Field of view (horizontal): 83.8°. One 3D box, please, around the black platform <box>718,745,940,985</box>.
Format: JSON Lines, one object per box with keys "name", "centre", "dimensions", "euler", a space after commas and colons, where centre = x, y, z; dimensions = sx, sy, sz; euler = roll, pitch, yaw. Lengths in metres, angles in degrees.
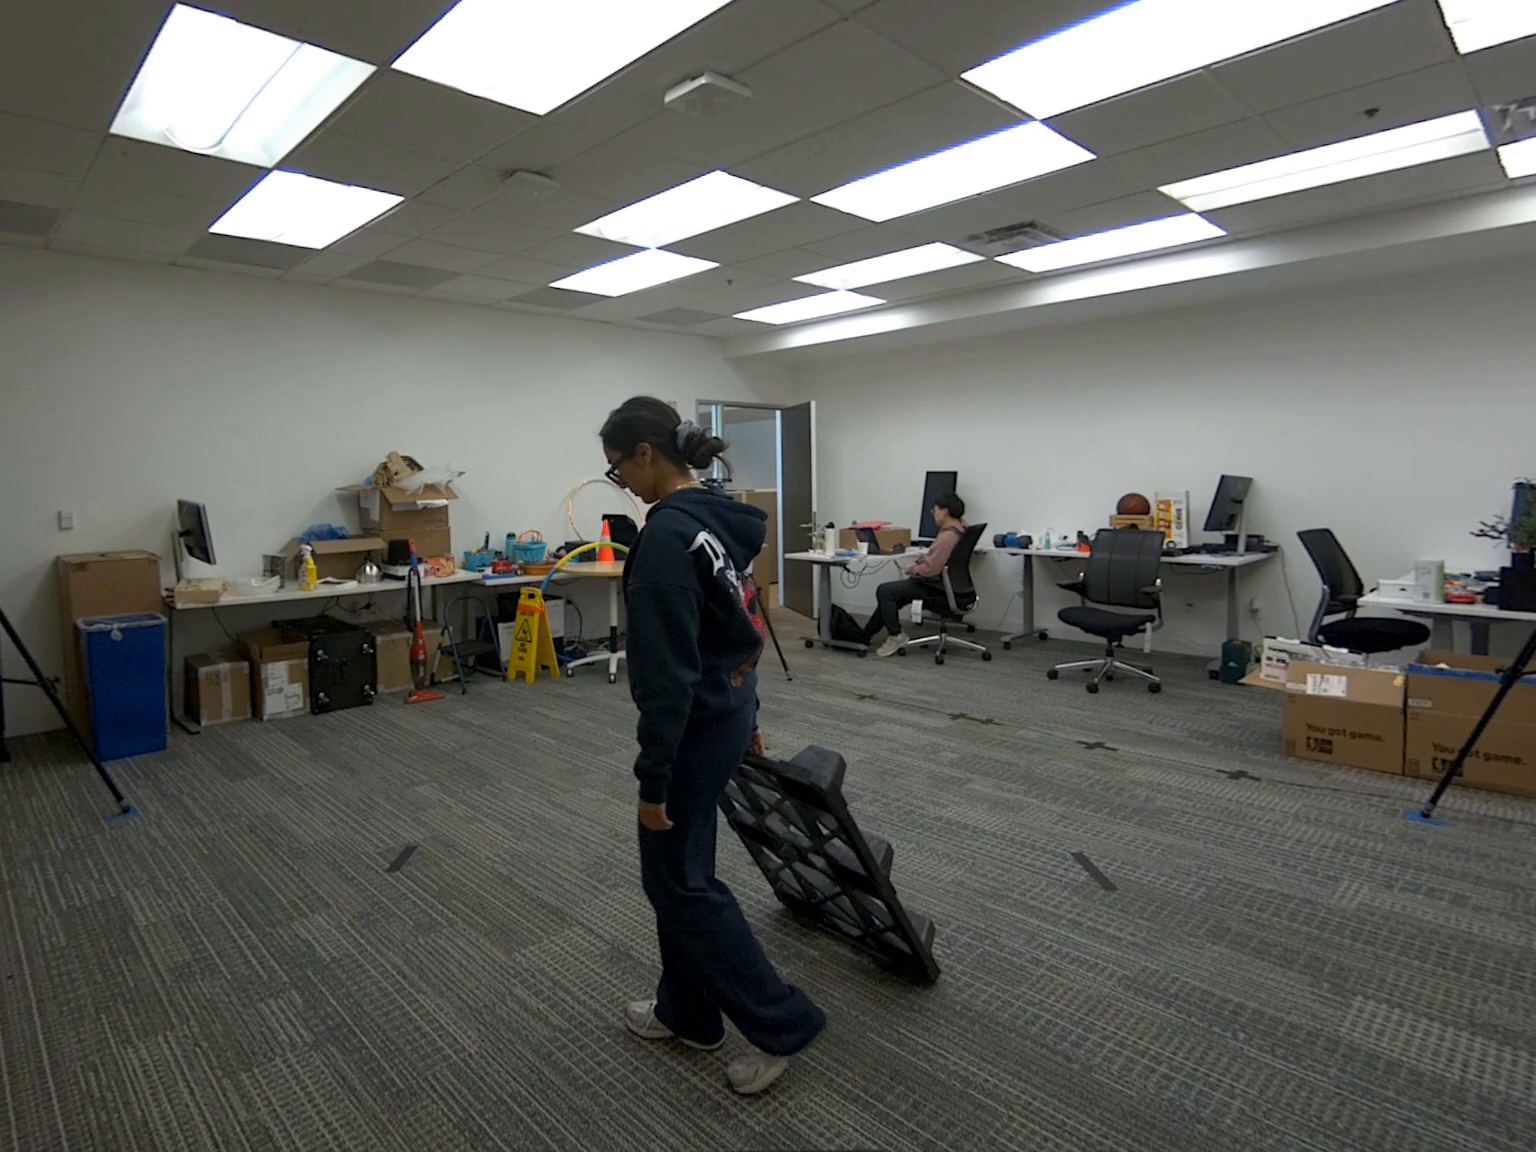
{"name": "black platform", "centre": [0.128, 0.751, 2.436], "dimensions": [0.624, 0.783, 0.143], "euler": [6, 40, 48]}
